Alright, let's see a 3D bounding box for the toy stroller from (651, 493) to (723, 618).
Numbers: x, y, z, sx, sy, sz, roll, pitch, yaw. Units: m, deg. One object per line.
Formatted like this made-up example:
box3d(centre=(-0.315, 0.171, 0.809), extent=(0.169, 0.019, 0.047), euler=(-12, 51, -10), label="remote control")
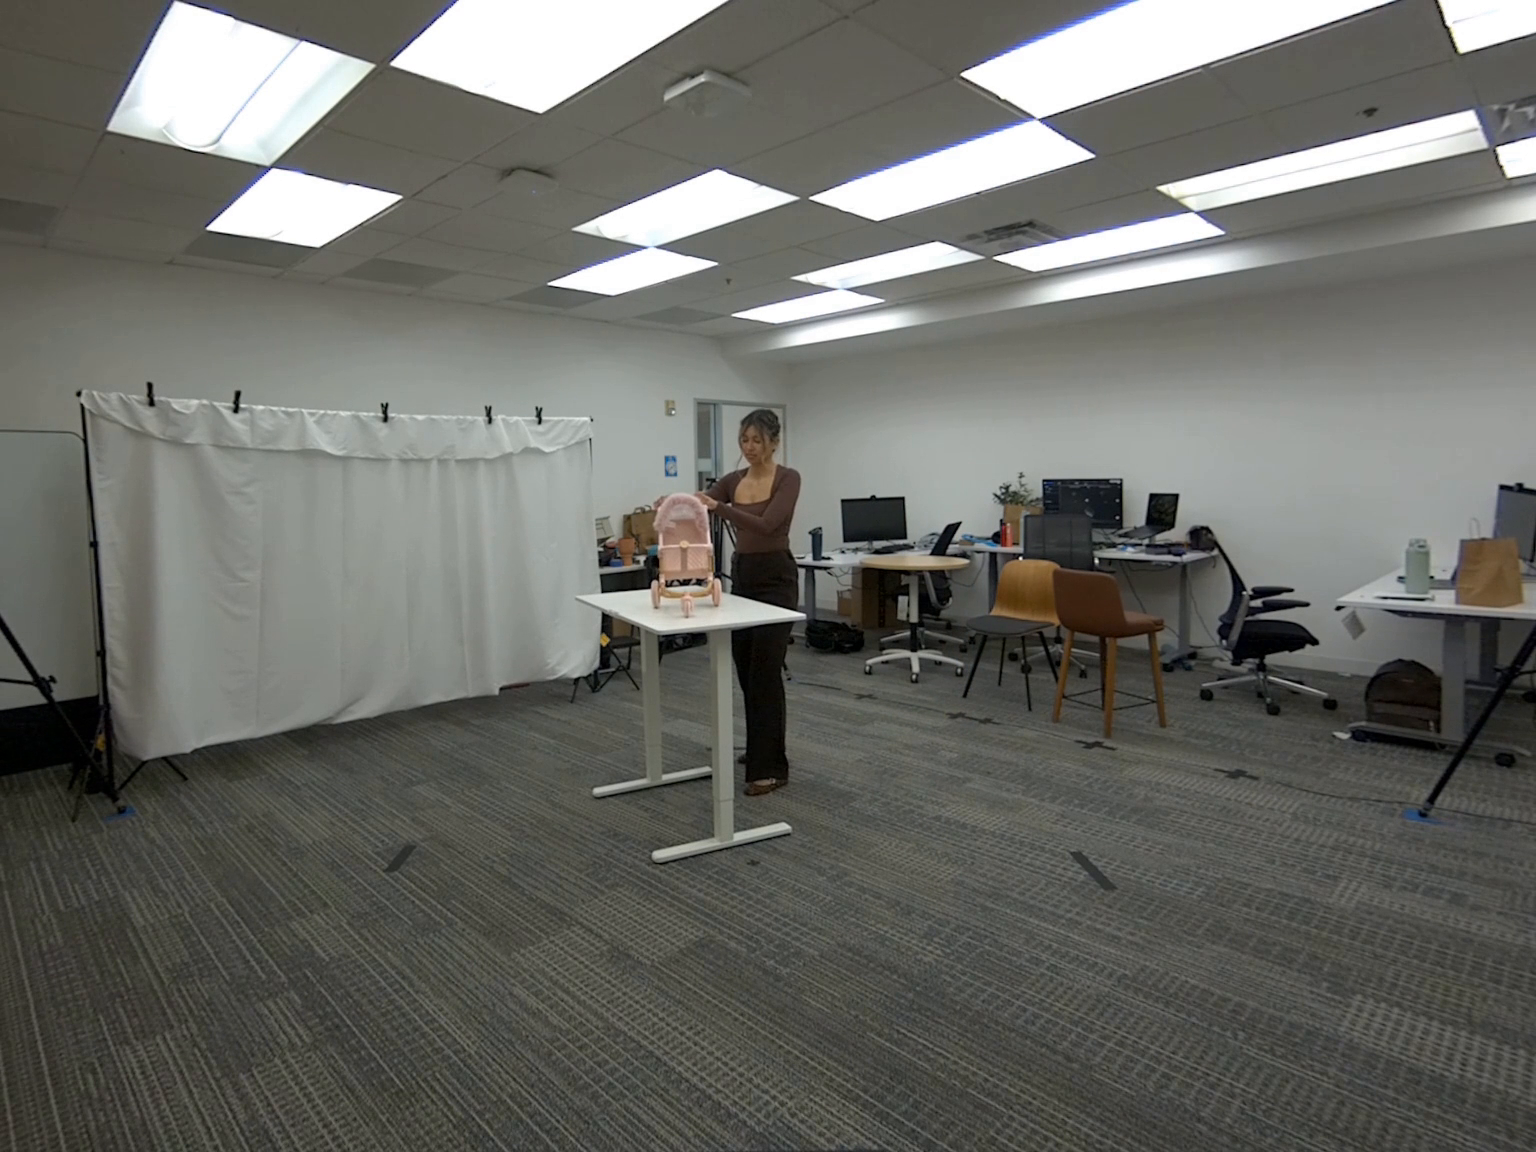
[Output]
box3d(centre=(-0.333, -0.086, 3.383), extent=(0.281, 0.541, 0.338), euler=(-3, -10, -1), label="toy stroller")
